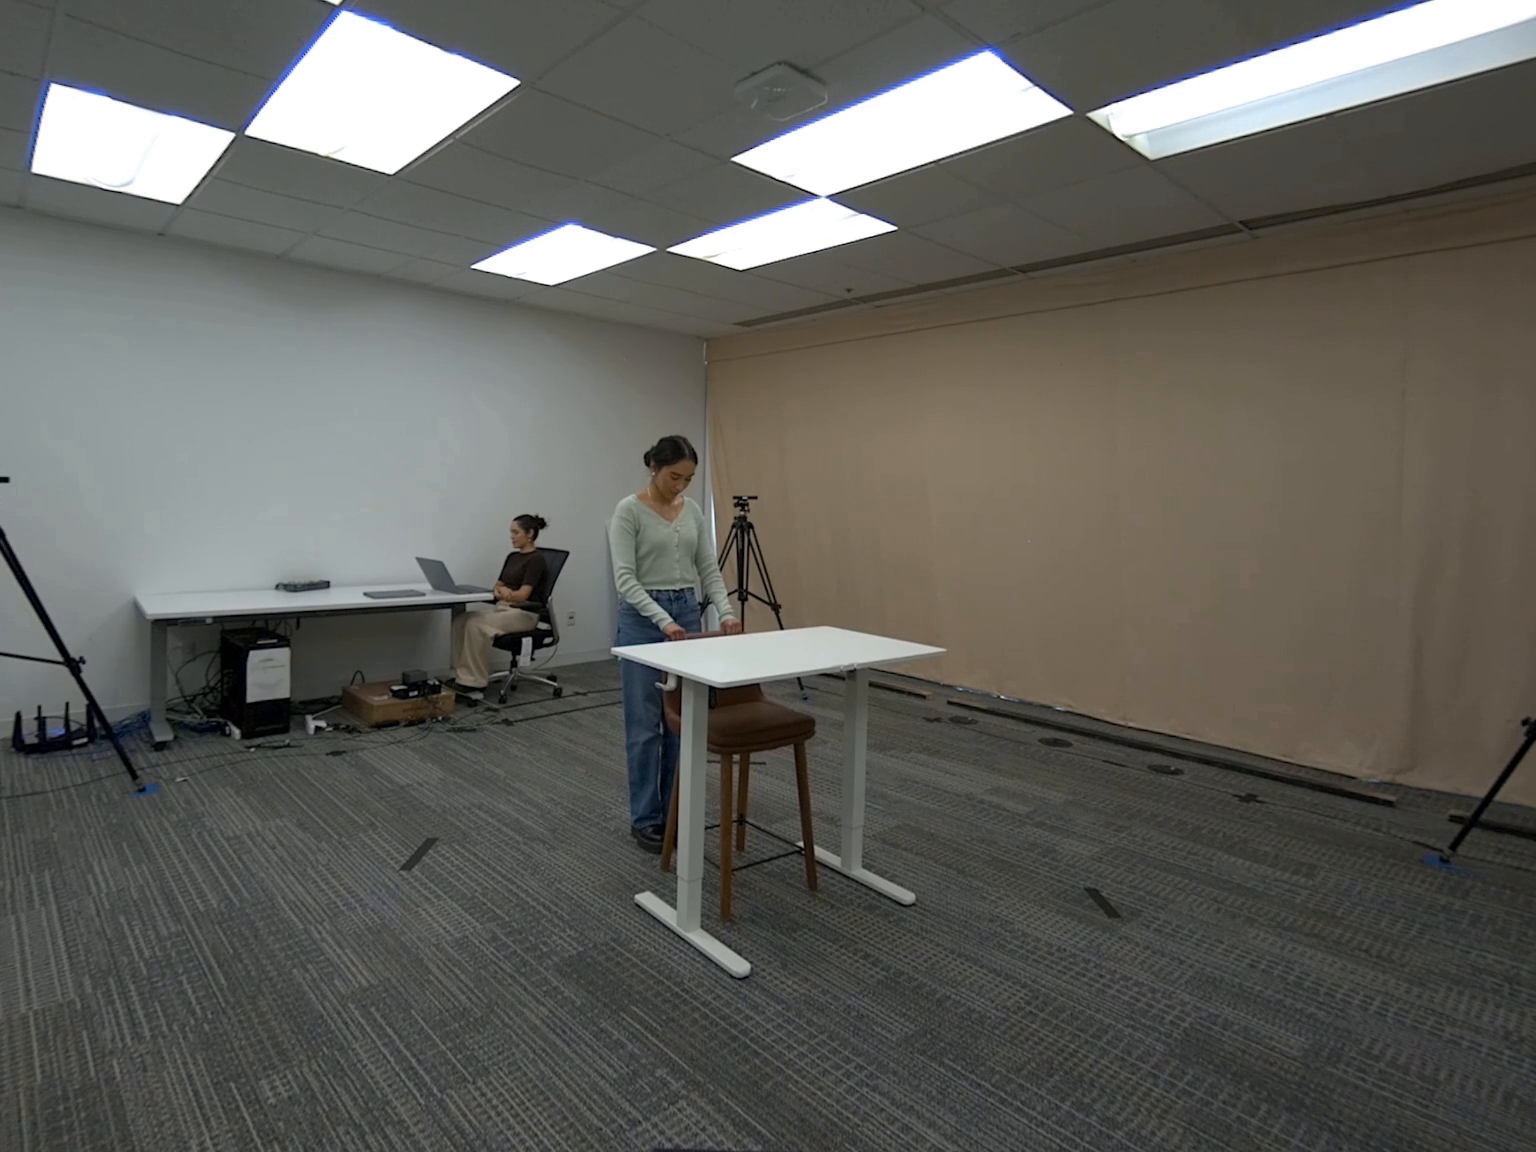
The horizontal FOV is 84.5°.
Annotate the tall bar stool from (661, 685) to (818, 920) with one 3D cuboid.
[{"bbox_3d":[-0.120,0.672,3.042,0.446,0.889,0.478,-1,2,-36],"label":"tall bar stool"}]
